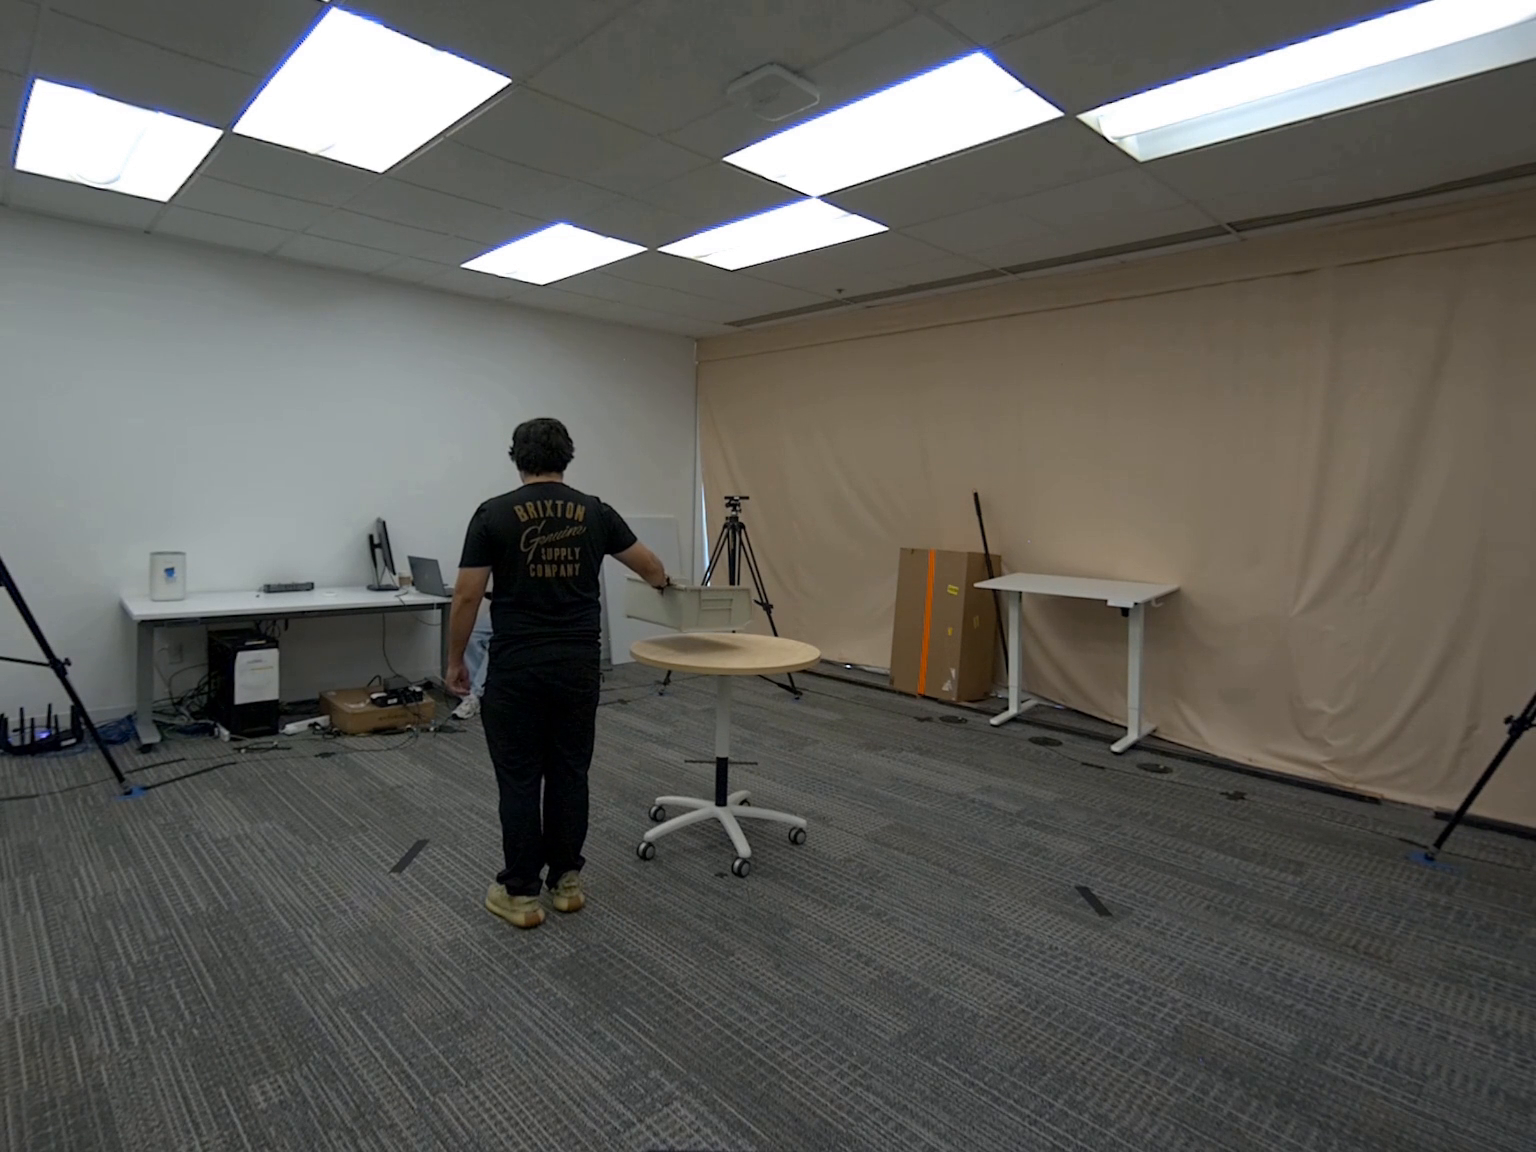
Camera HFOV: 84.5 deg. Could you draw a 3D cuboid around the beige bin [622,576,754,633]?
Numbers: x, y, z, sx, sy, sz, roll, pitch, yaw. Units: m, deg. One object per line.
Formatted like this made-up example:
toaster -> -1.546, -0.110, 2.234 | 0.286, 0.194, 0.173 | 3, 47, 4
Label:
beige bin -> -0.334, 0.108, 3.443 | 0.368, 0.188, 0.434 | 0, 6, -43
